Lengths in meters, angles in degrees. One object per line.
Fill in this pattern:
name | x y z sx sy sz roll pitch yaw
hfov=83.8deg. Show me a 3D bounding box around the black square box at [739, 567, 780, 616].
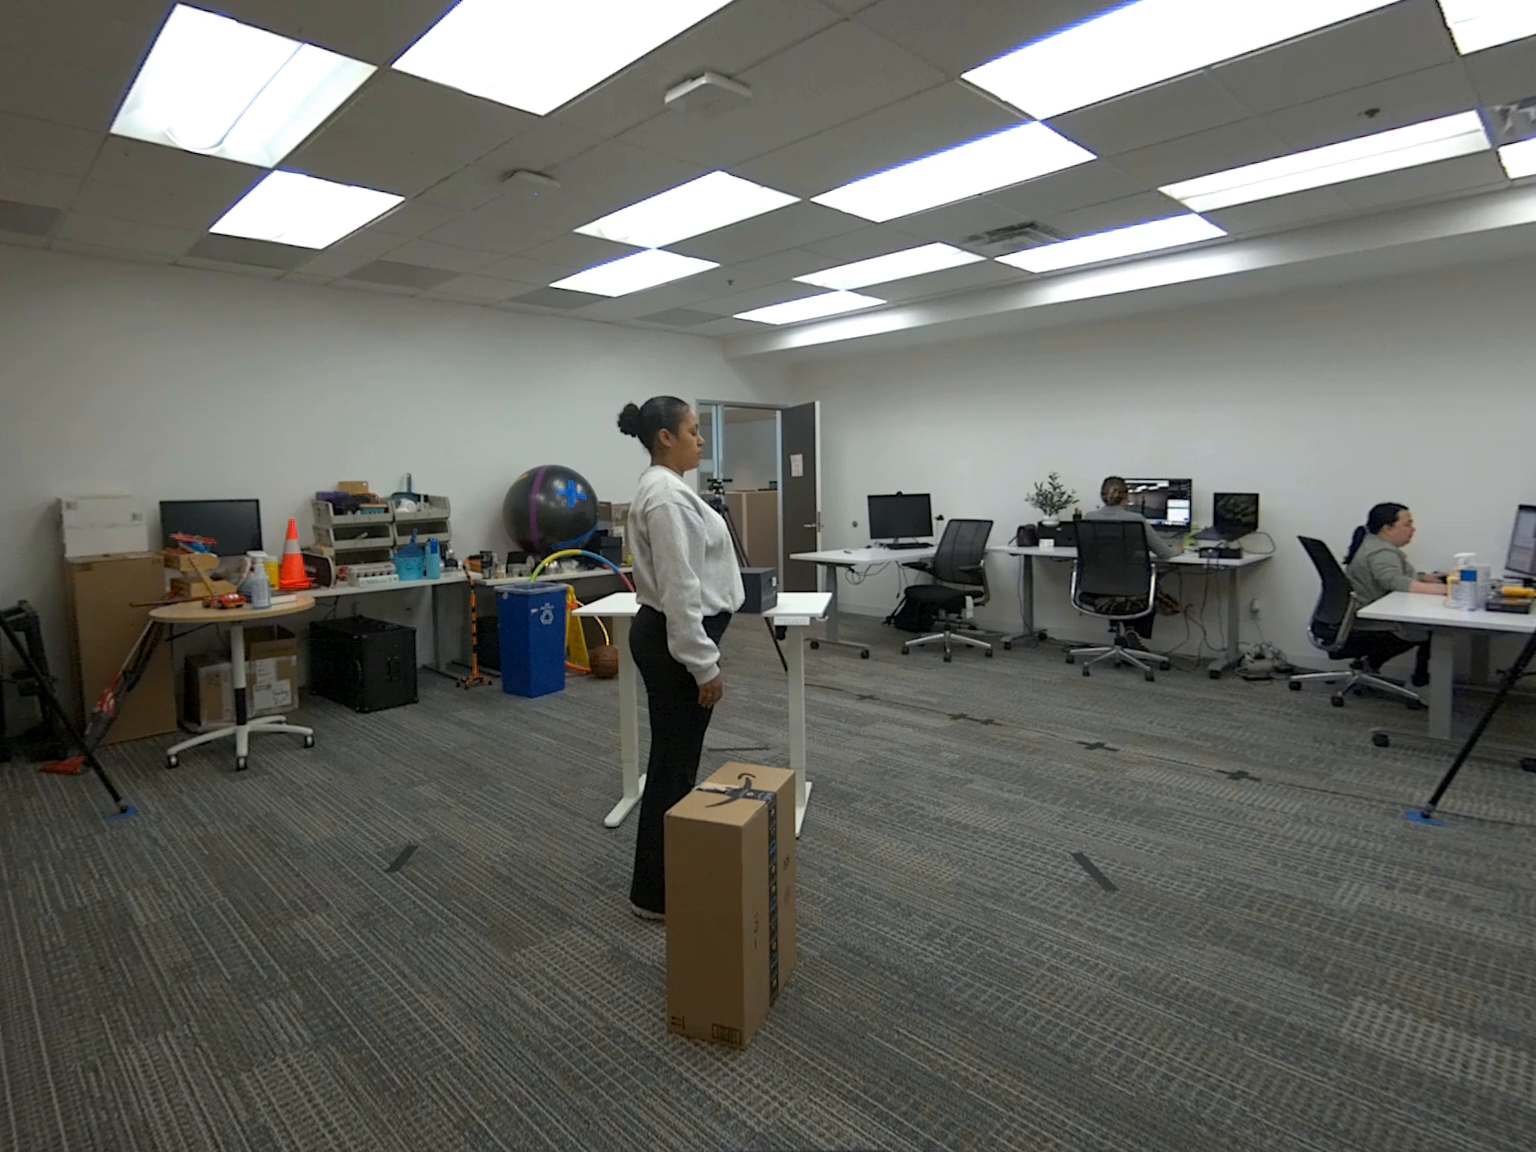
black square box | -0.101 0.051 3.372 0.232 0.155 0.214 0 5 19
